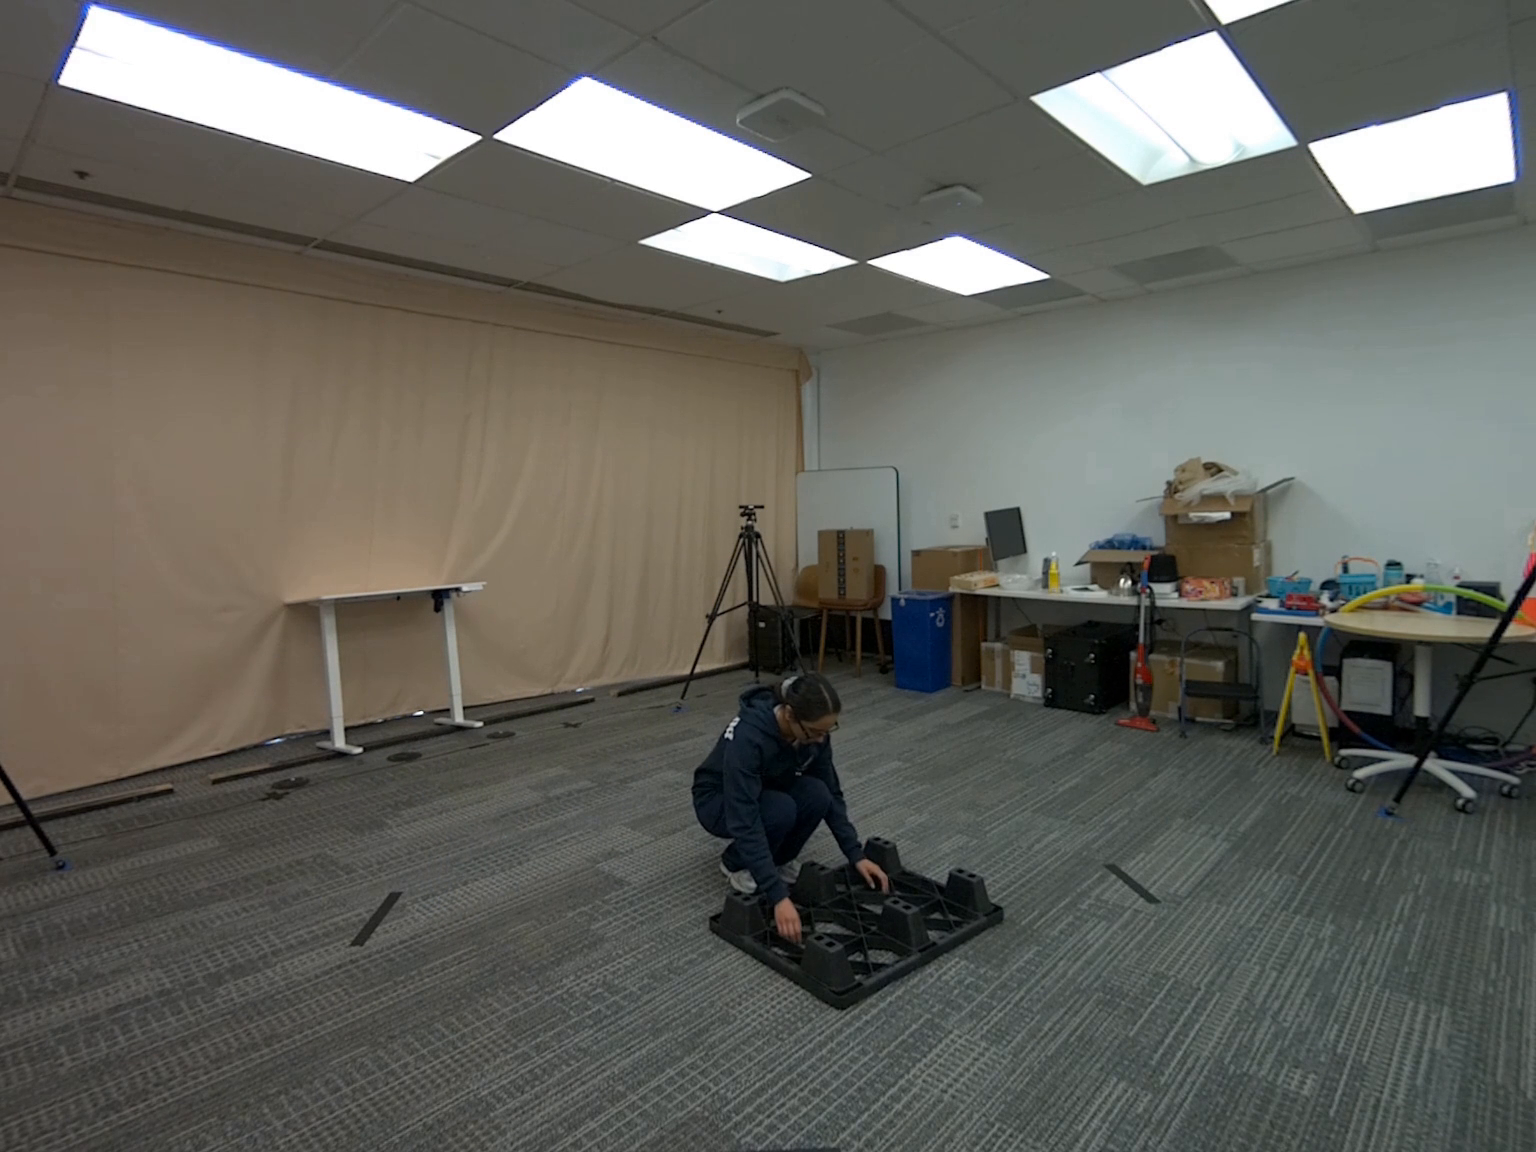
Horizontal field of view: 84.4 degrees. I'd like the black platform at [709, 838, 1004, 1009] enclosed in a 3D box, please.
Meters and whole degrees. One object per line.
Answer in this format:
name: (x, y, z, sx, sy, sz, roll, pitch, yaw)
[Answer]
black platform: (0.296, 1.080, 2.784, 0.781, 0.143, 0.625, -5, 7, -40)
